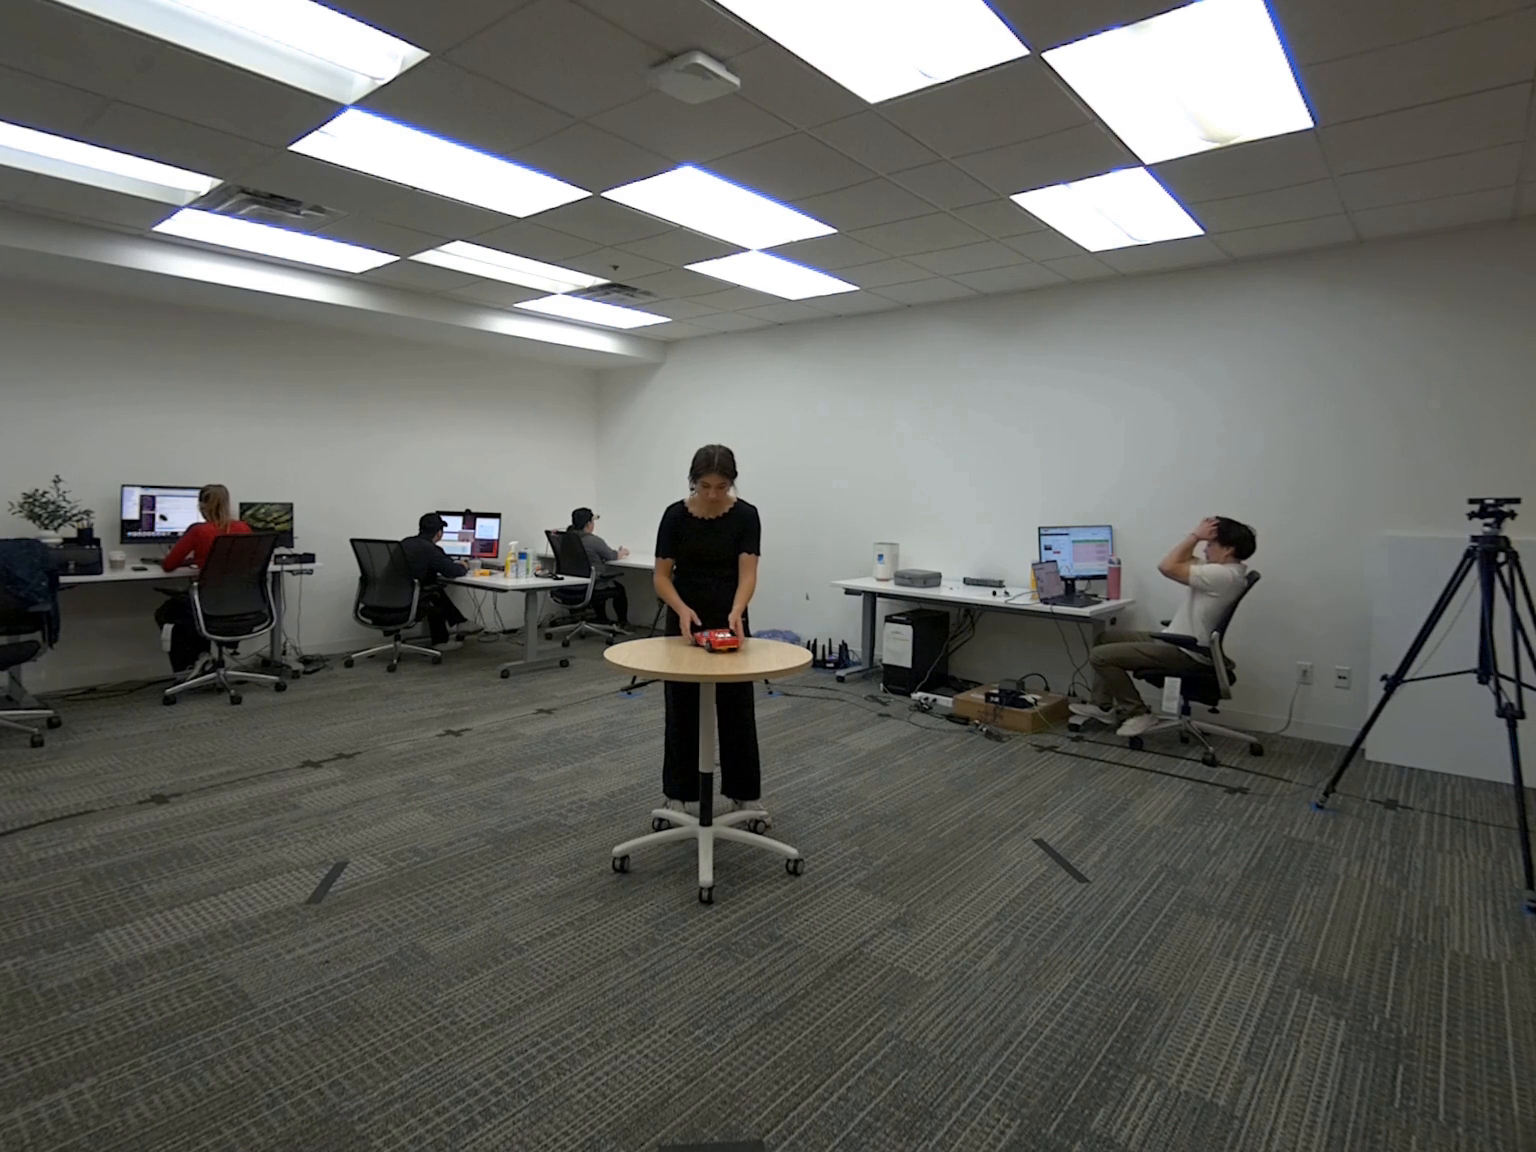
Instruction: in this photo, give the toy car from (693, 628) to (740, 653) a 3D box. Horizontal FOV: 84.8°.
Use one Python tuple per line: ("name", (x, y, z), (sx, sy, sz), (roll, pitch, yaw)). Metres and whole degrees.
("toy car", (-0.208, 0.241, 3.195), (0.128, 0.084, 0.257), (-1, -7, -21))
